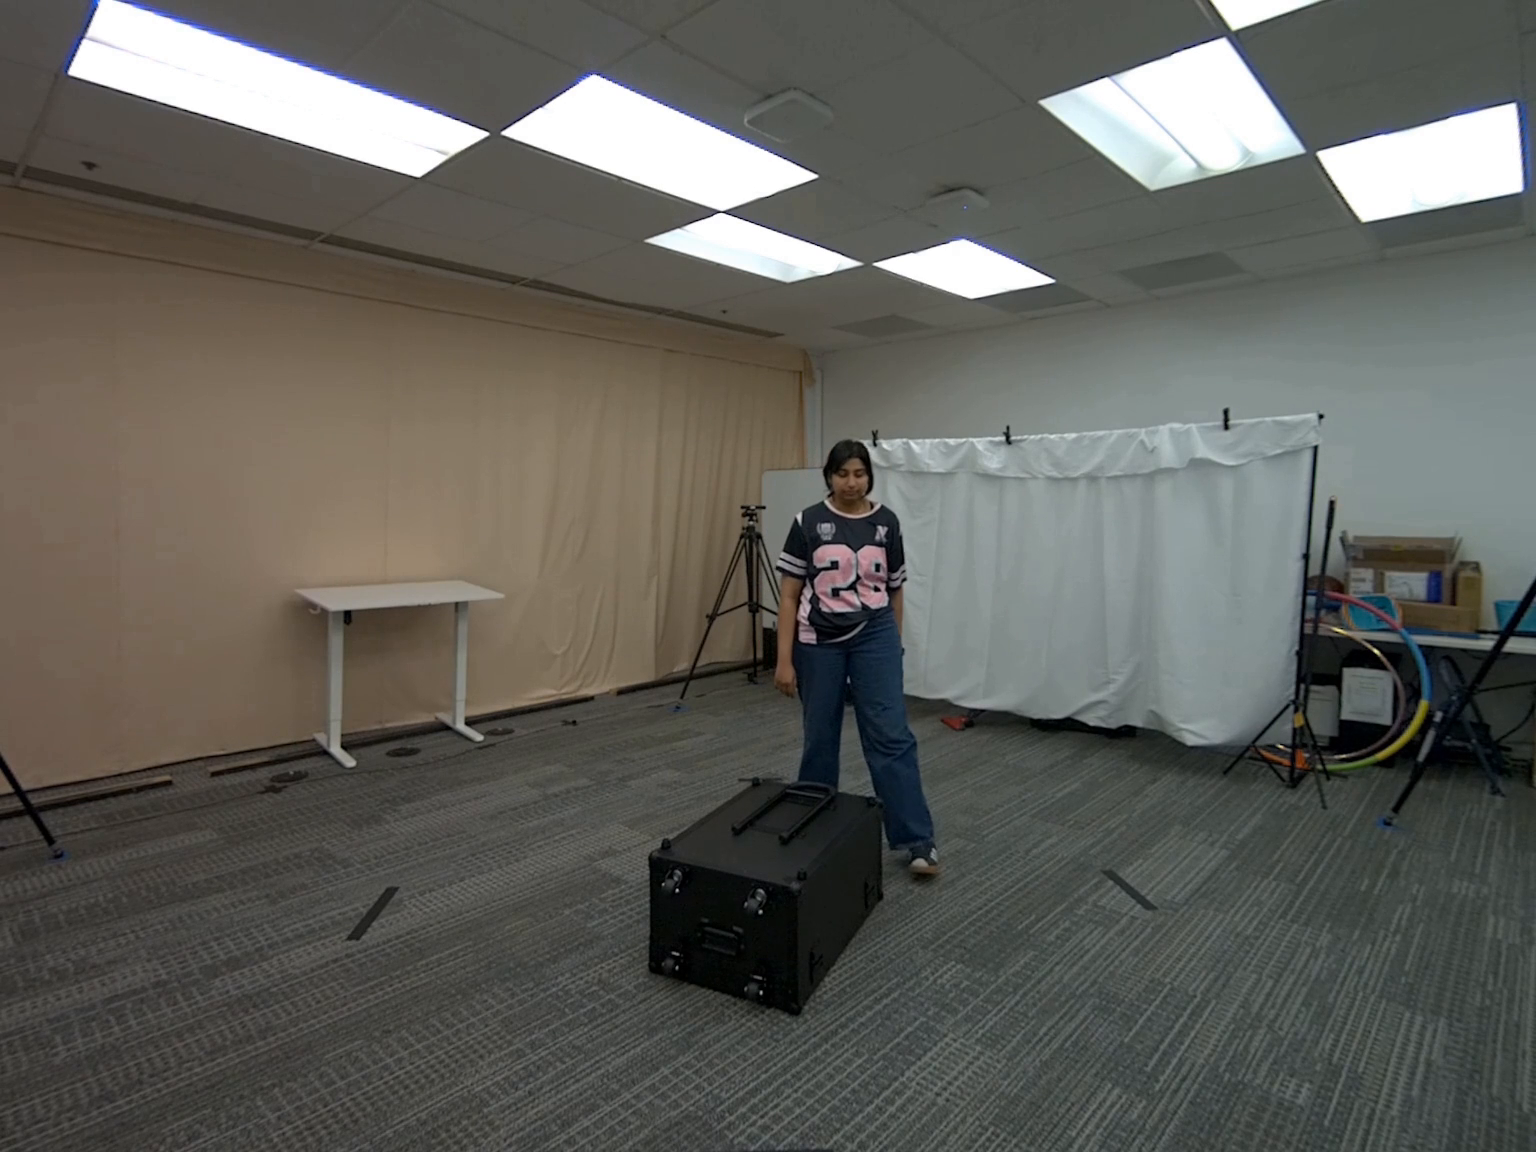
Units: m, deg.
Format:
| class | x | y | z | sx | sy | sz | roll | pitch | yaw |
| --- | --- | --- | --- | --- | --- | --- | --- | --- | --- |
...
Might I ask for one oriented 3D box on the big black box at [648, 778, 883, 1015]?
| class | x | y | z | sx | sy | sz | roll | pitch | yaw |
| --- | --- | --- | --- | --- | --- | --- | --- | --- | --- |
| big black box | 0.013 | 0.972 | 2.701 | 0.535 | 0.395 | 0.841 | 2 | 5 | 25 |
